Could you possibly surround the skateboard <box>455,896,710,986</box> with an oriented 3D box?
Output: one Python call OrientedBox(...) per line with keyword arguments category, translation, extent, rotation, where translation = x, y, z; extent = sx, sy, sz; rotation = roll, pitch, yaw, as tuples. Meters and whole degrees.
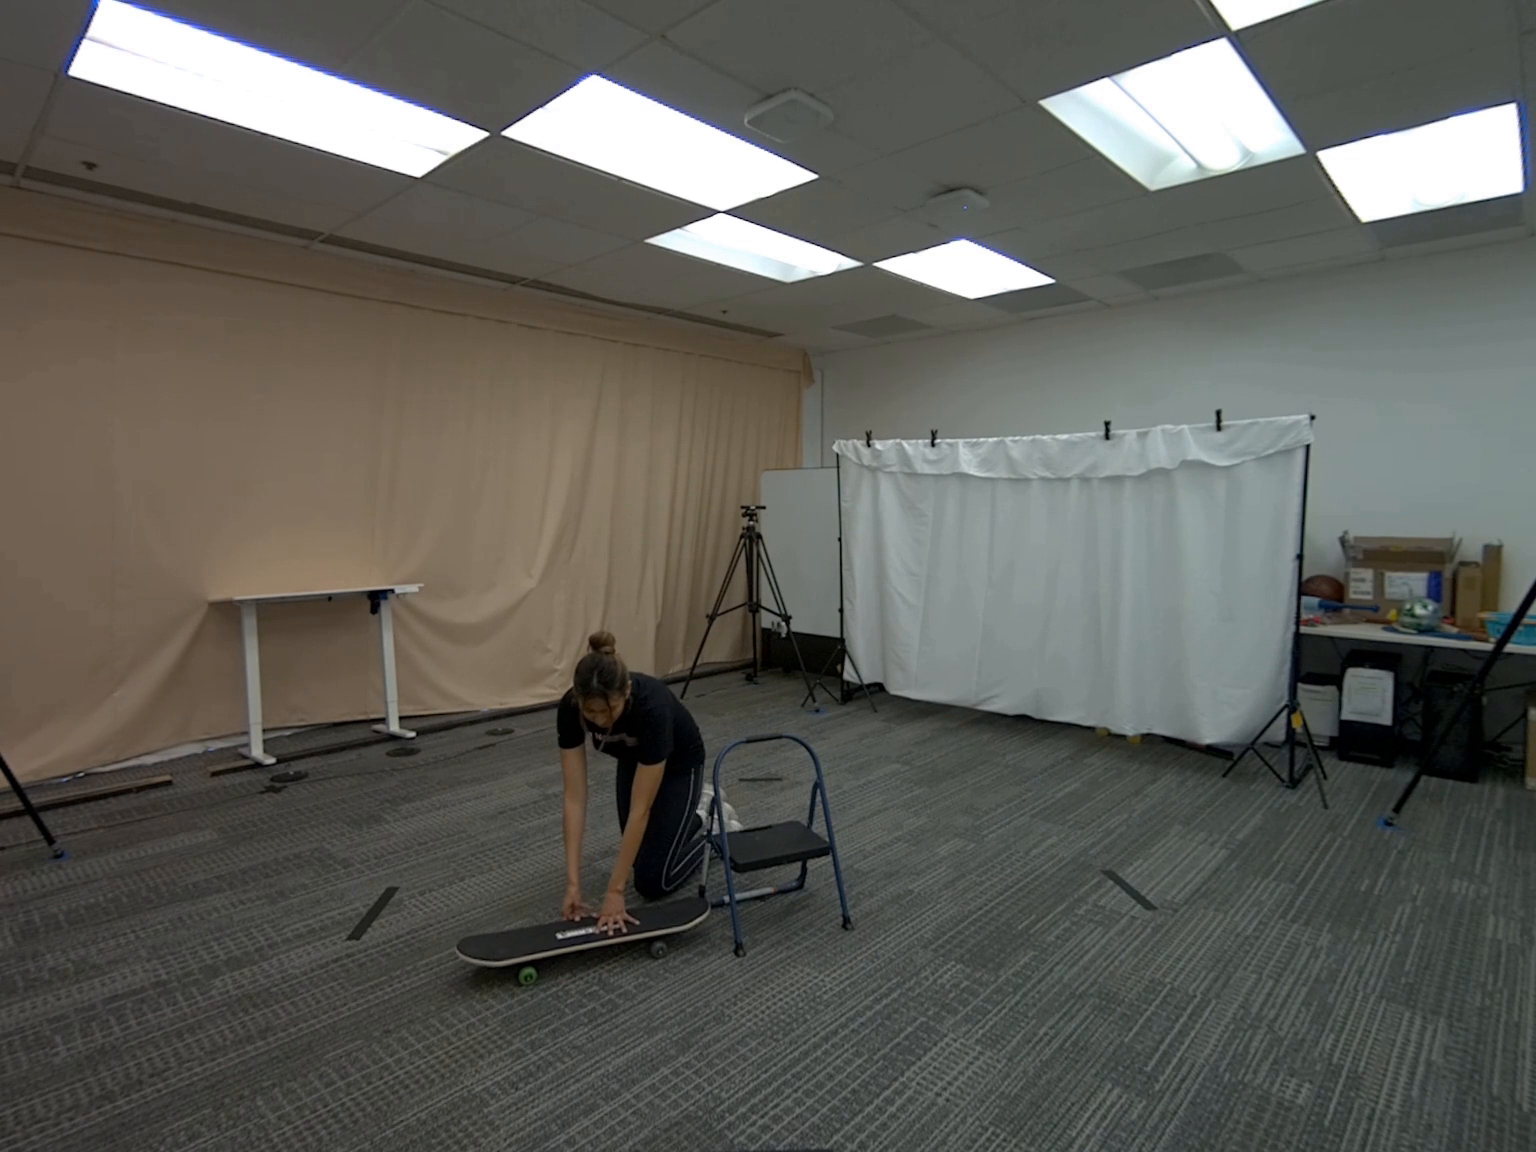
OrientedBox(category="skateboard", translation=(-0.566, 1.133, 2.588), extent=(0.769, 0.110, 0.197), rotation=(-1, 1, -20))
